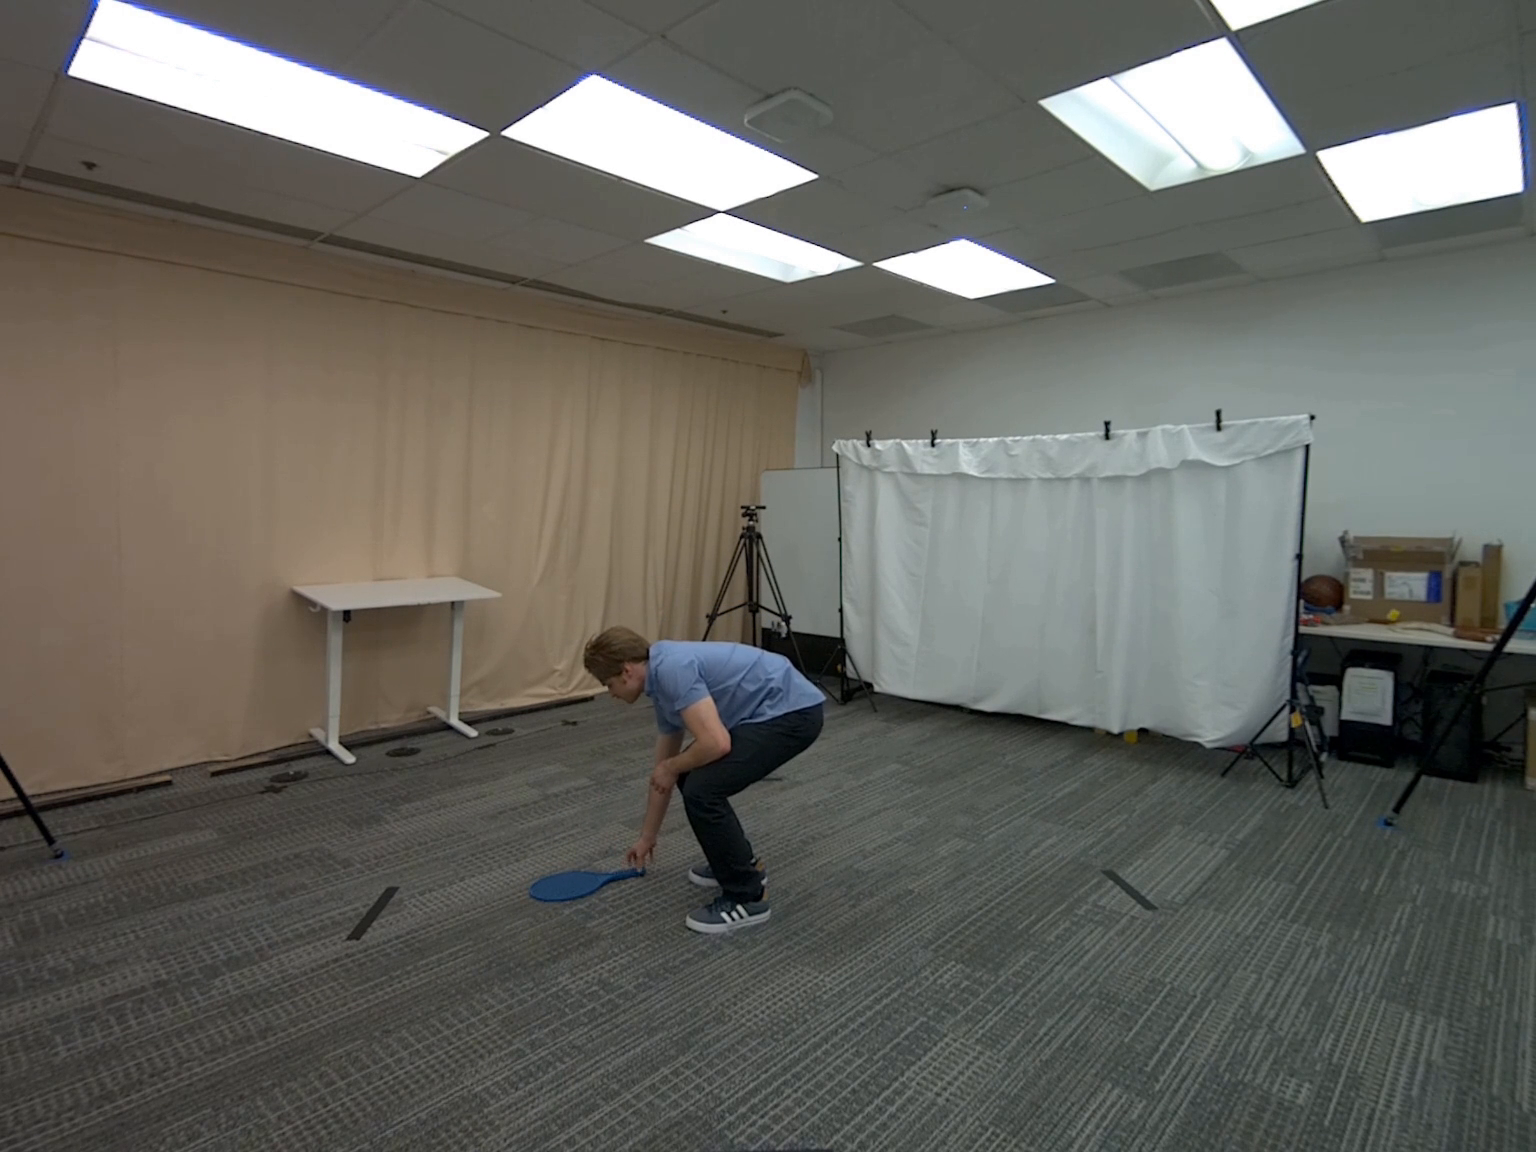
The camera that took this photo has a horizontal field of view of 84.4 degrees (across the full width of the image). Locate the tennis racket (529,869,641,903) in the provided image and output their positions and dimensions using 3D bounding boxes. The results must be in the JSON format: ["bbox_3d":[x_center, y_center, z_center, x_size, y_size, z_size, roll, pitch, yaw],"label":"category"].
[{"bbox_3d":[-0.667,1.127,3.112,0.423,0.032,0.219,-4,5,-24],"label":"tennis racket"}]
